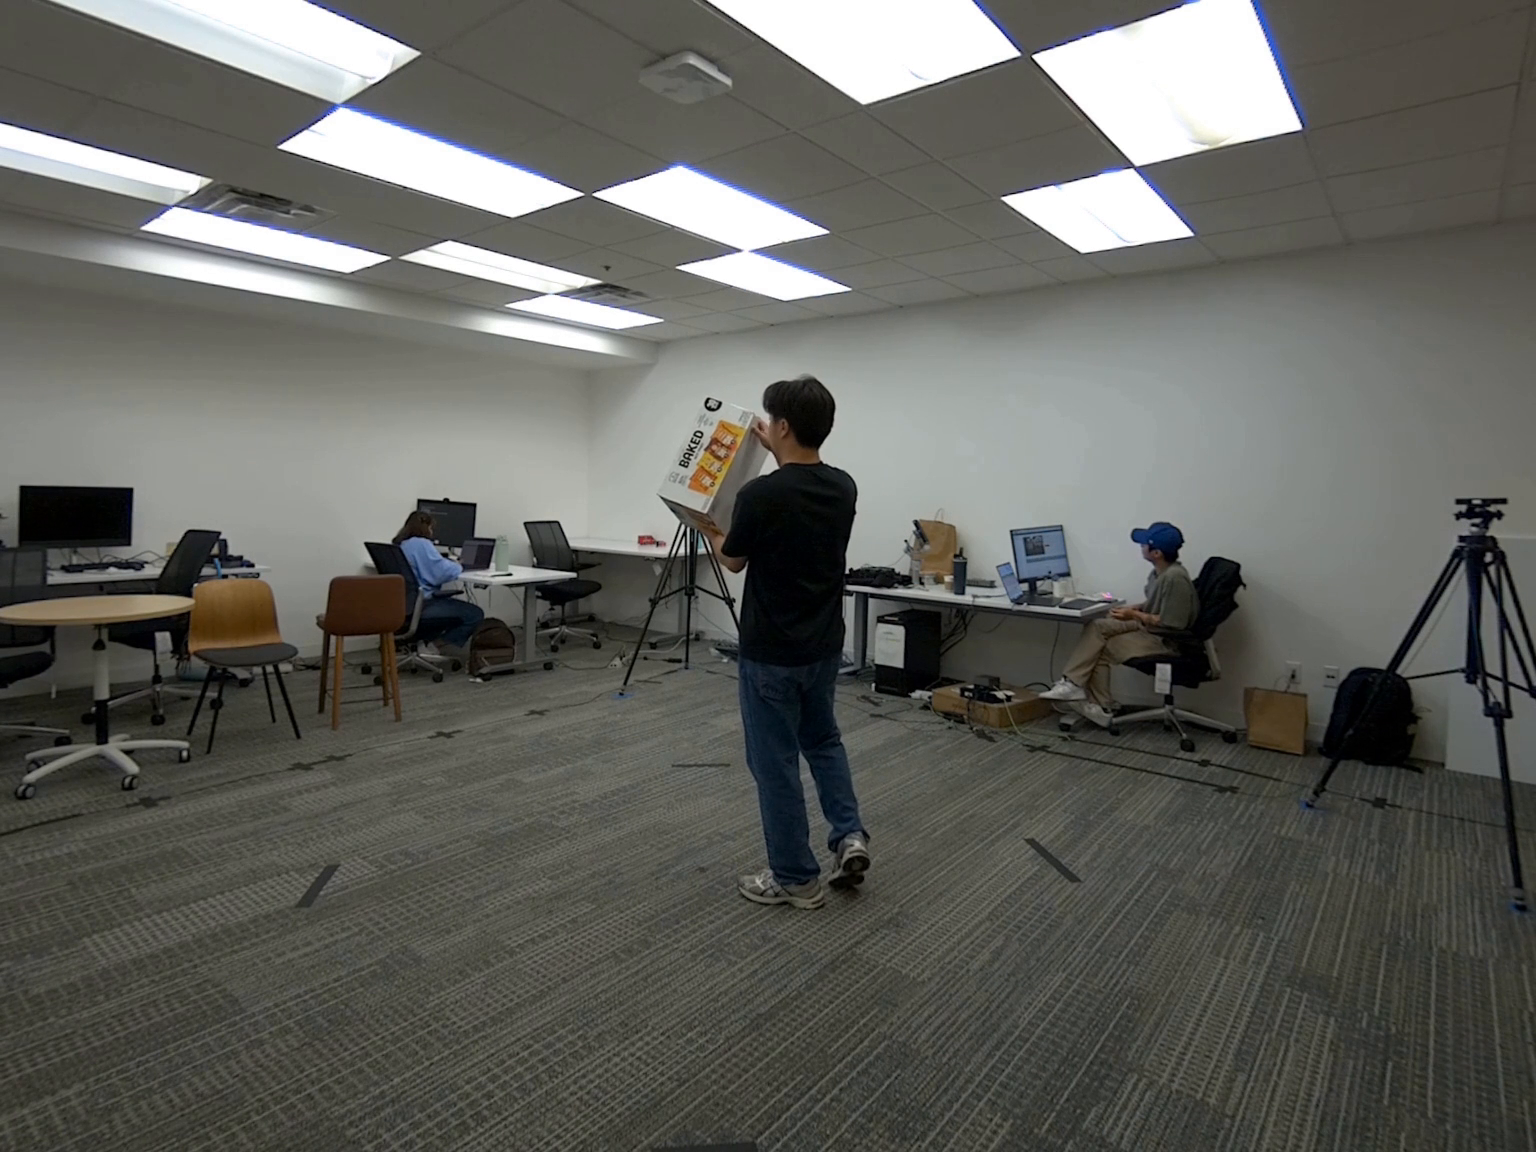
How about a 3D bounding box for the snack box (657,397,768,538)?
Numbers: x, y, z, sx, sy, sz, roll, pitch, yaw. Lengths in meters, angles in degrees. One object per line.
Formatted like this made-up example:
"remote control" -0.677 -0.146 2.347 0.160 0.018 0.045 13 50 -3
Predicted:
"snack box" -0.198 -0.387 3.138 0.210 0.407 0.331 20 -12 14
